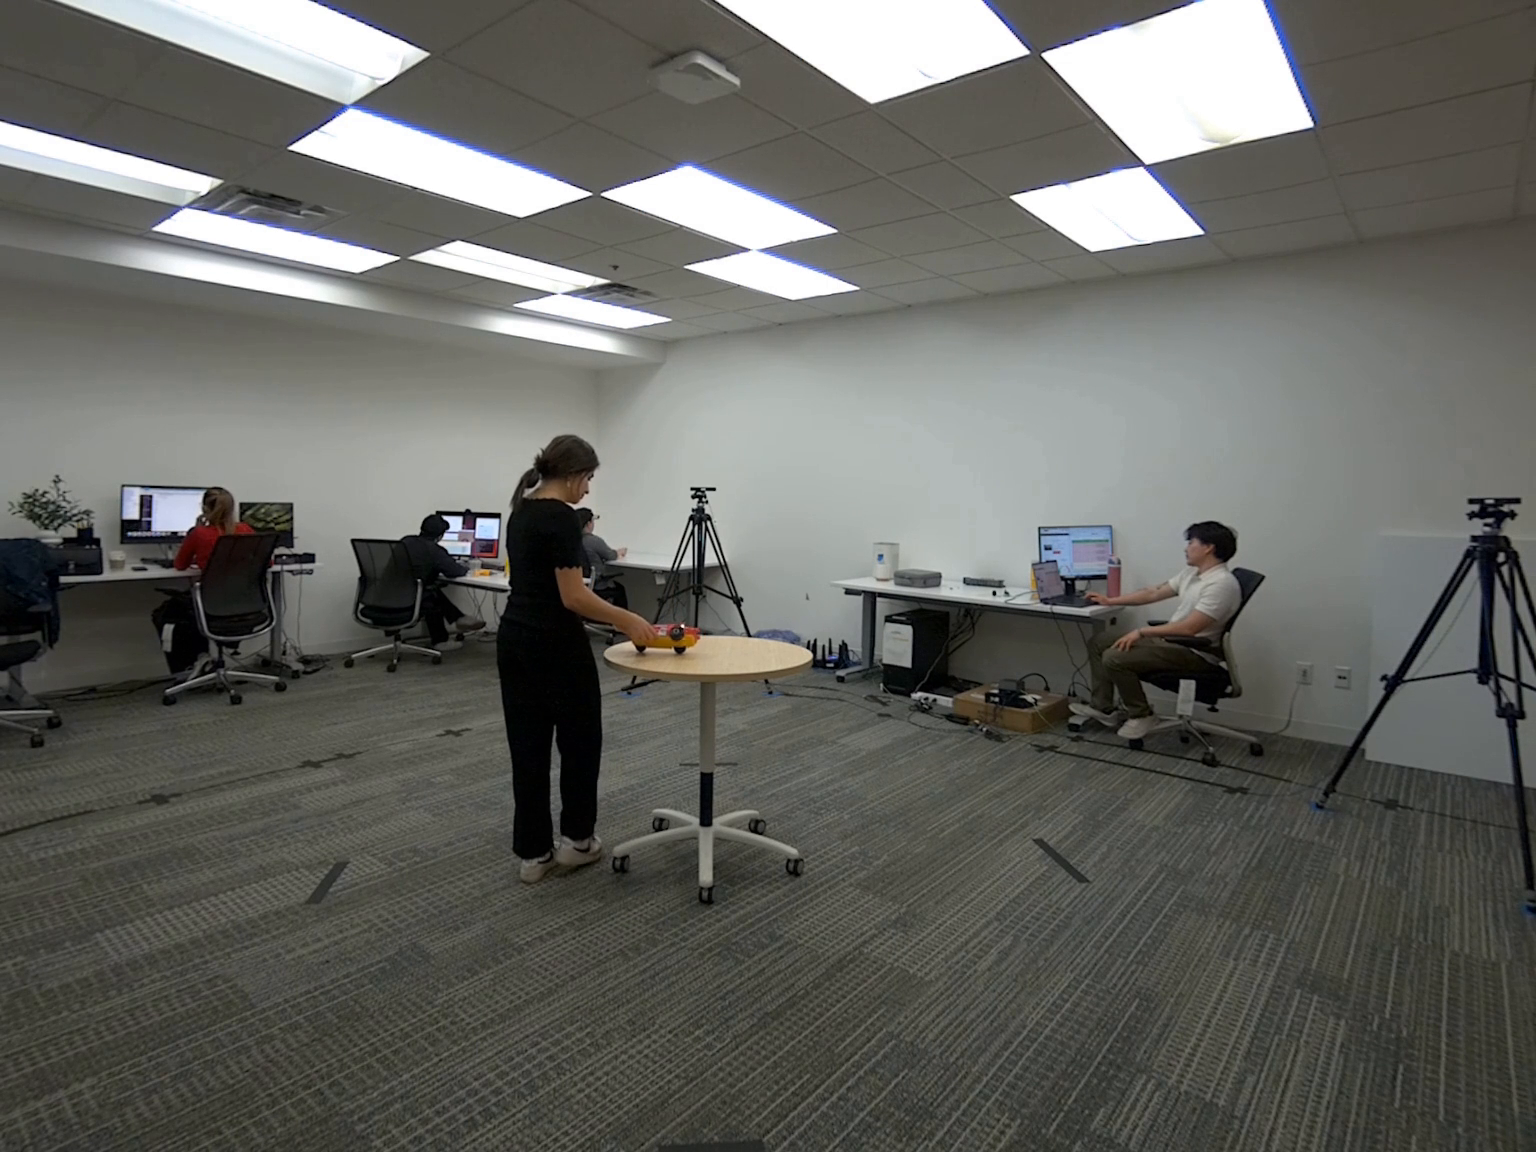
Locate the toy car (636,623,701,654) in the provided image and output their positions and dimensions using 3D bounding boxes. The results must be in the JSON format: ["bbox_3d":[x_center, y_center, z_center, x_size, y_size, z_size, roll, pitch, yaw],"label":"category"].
[{"bbox_3d":[-0.388,0.225,3.088,0.254,0.086,0.126,-7,-38,-4],"label":"toy car"}]
